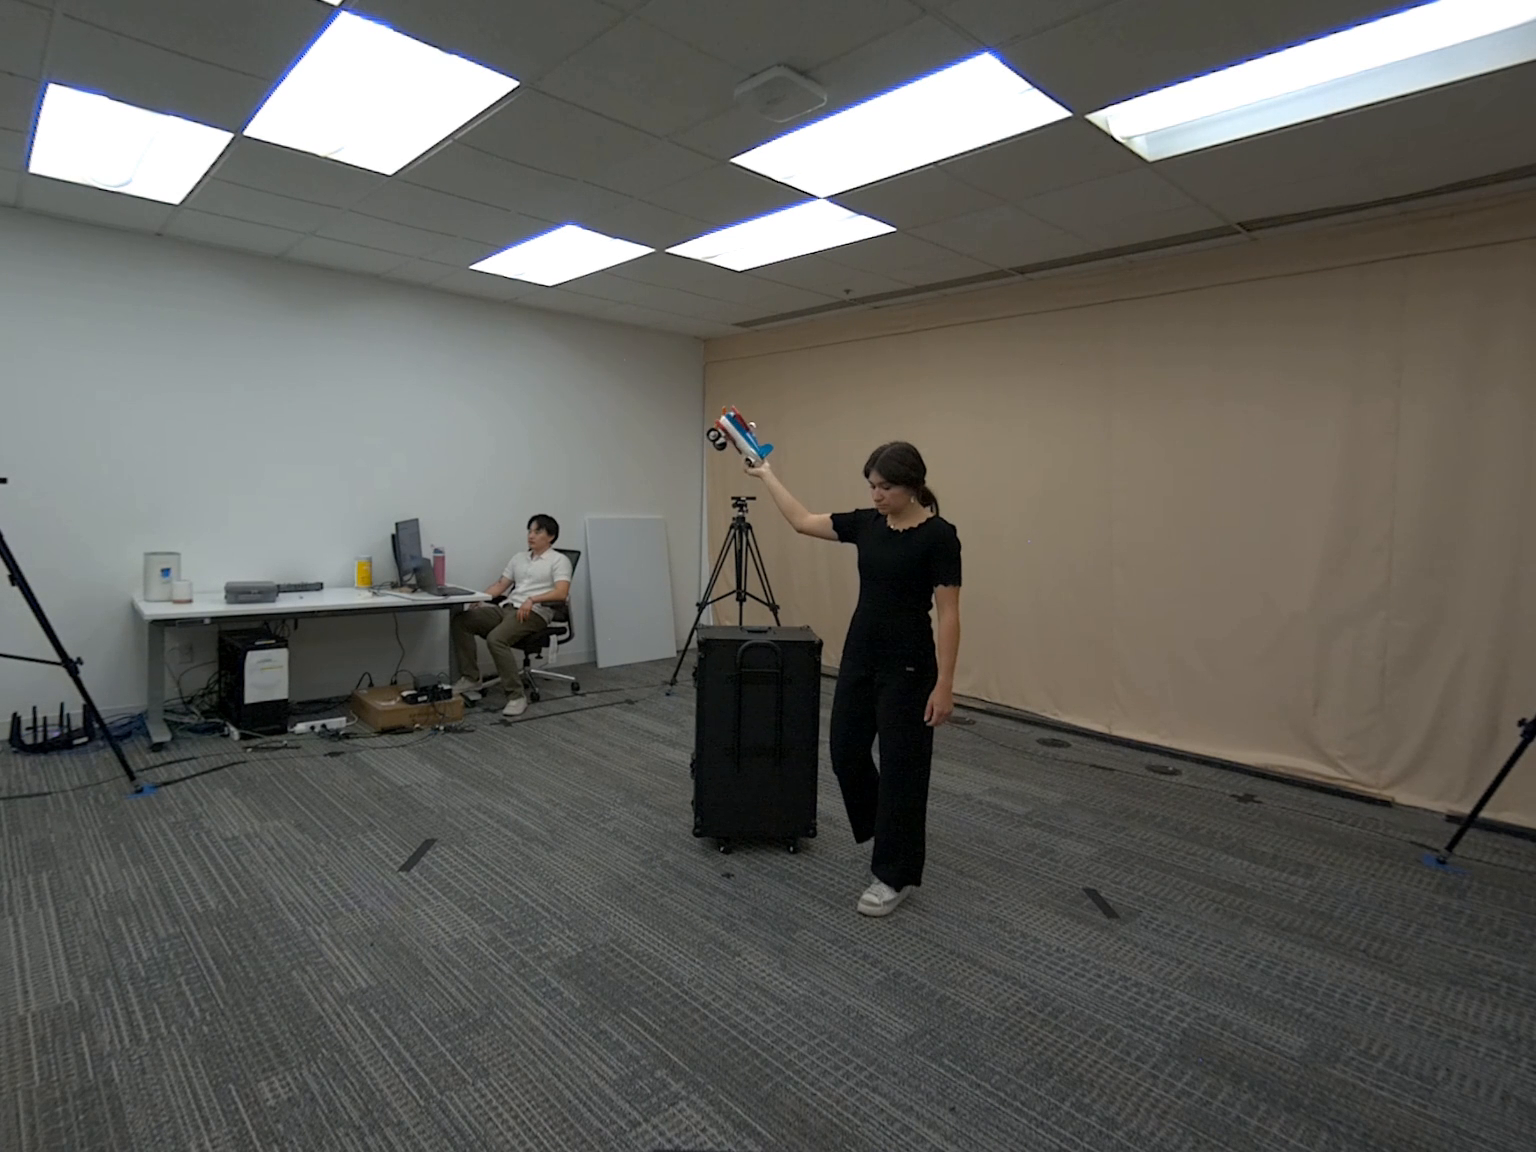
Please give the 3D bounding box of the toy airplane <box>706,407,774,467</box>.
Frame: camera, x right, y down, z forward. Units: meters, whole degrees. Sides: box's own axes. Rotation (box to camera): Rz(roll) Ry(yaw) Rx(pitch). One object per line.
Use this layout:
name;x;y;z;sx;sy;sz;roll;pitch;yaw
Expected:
toy airplane;-0.118;-0.526;3.289;0.257;0.156;0.253;37;-2;-7
